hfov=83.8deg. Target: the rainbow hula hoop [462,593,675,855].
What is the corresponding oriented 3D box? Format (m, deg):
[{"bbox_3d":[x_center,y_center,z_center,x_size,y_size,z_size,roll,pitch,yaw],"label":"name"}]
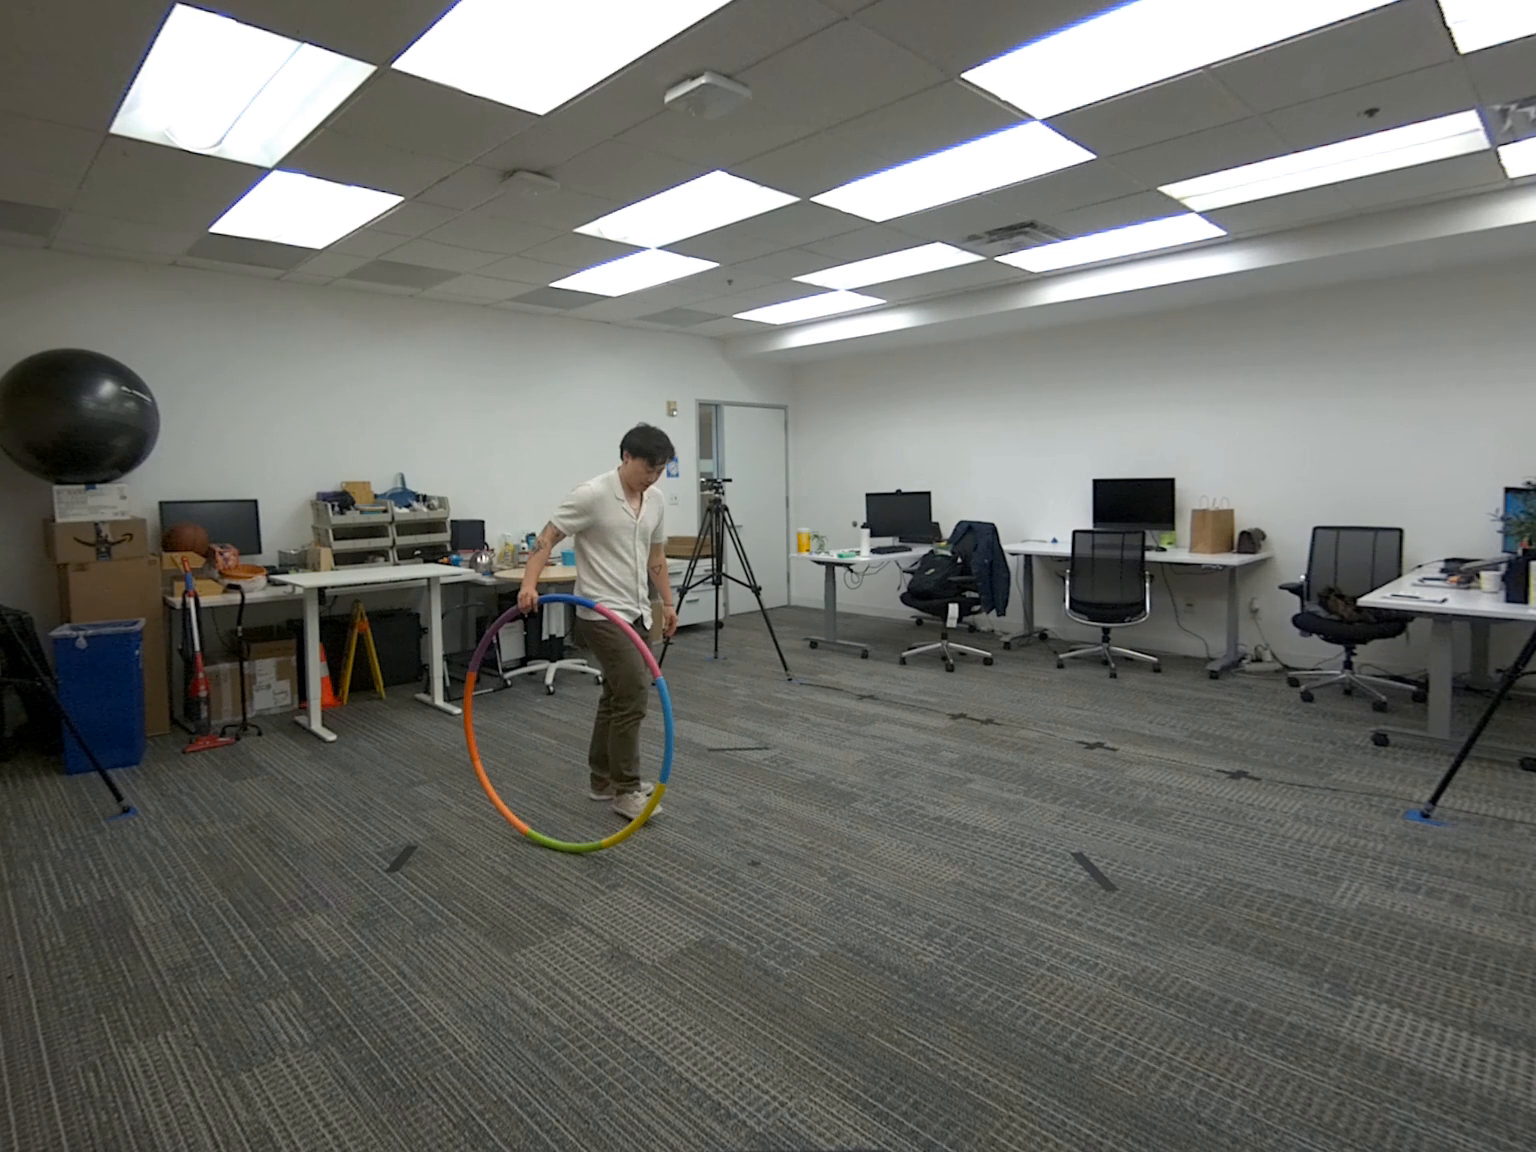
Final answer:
[{"bbox_3d":[-0.773,0.558,3.247,1.003,0.978,0.035,2,1,28],"label":"rainbow hula hoop"}]
